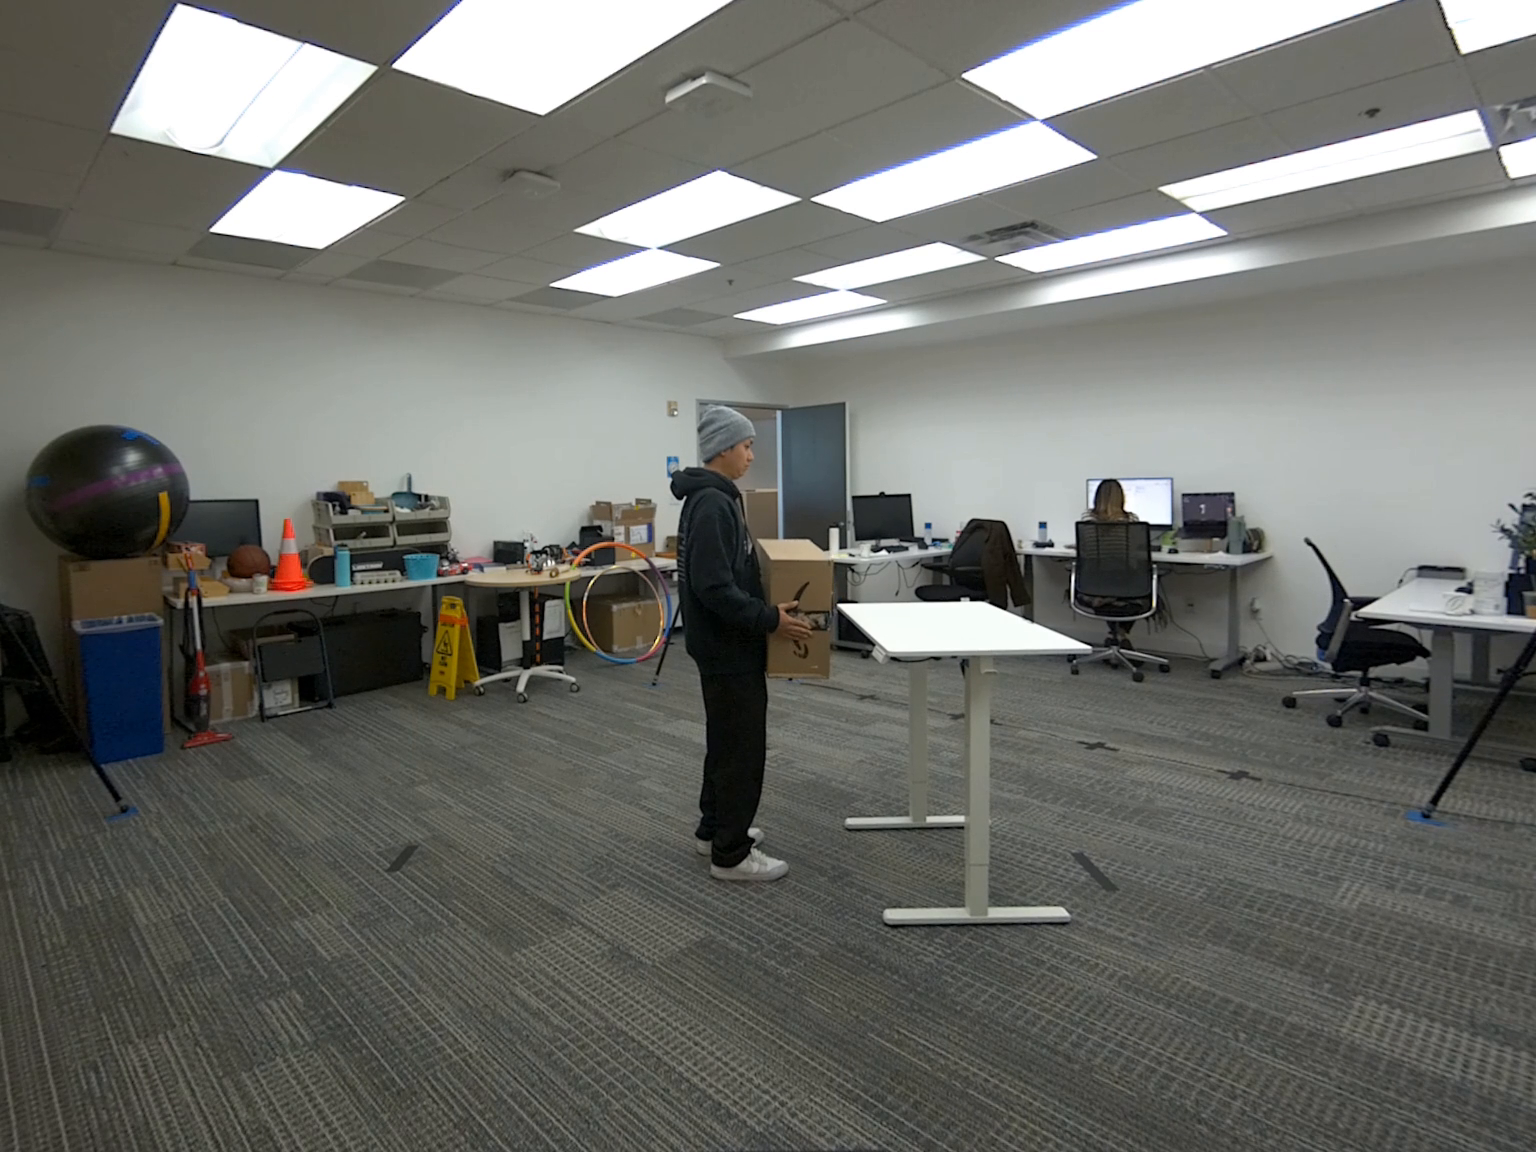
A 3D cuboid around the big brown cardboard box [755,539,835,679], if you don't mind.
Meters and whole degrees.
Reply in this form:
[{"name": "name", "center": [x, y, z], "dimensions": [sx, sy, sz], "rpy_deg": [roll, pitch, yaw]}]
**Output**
[{"name": "big brown cardboard box", "center": [0.089, 0.094, 3.181], "dimensions": [0.232, 0.415, 0.596], "rpy_deg": [0, 8, -7]}]
